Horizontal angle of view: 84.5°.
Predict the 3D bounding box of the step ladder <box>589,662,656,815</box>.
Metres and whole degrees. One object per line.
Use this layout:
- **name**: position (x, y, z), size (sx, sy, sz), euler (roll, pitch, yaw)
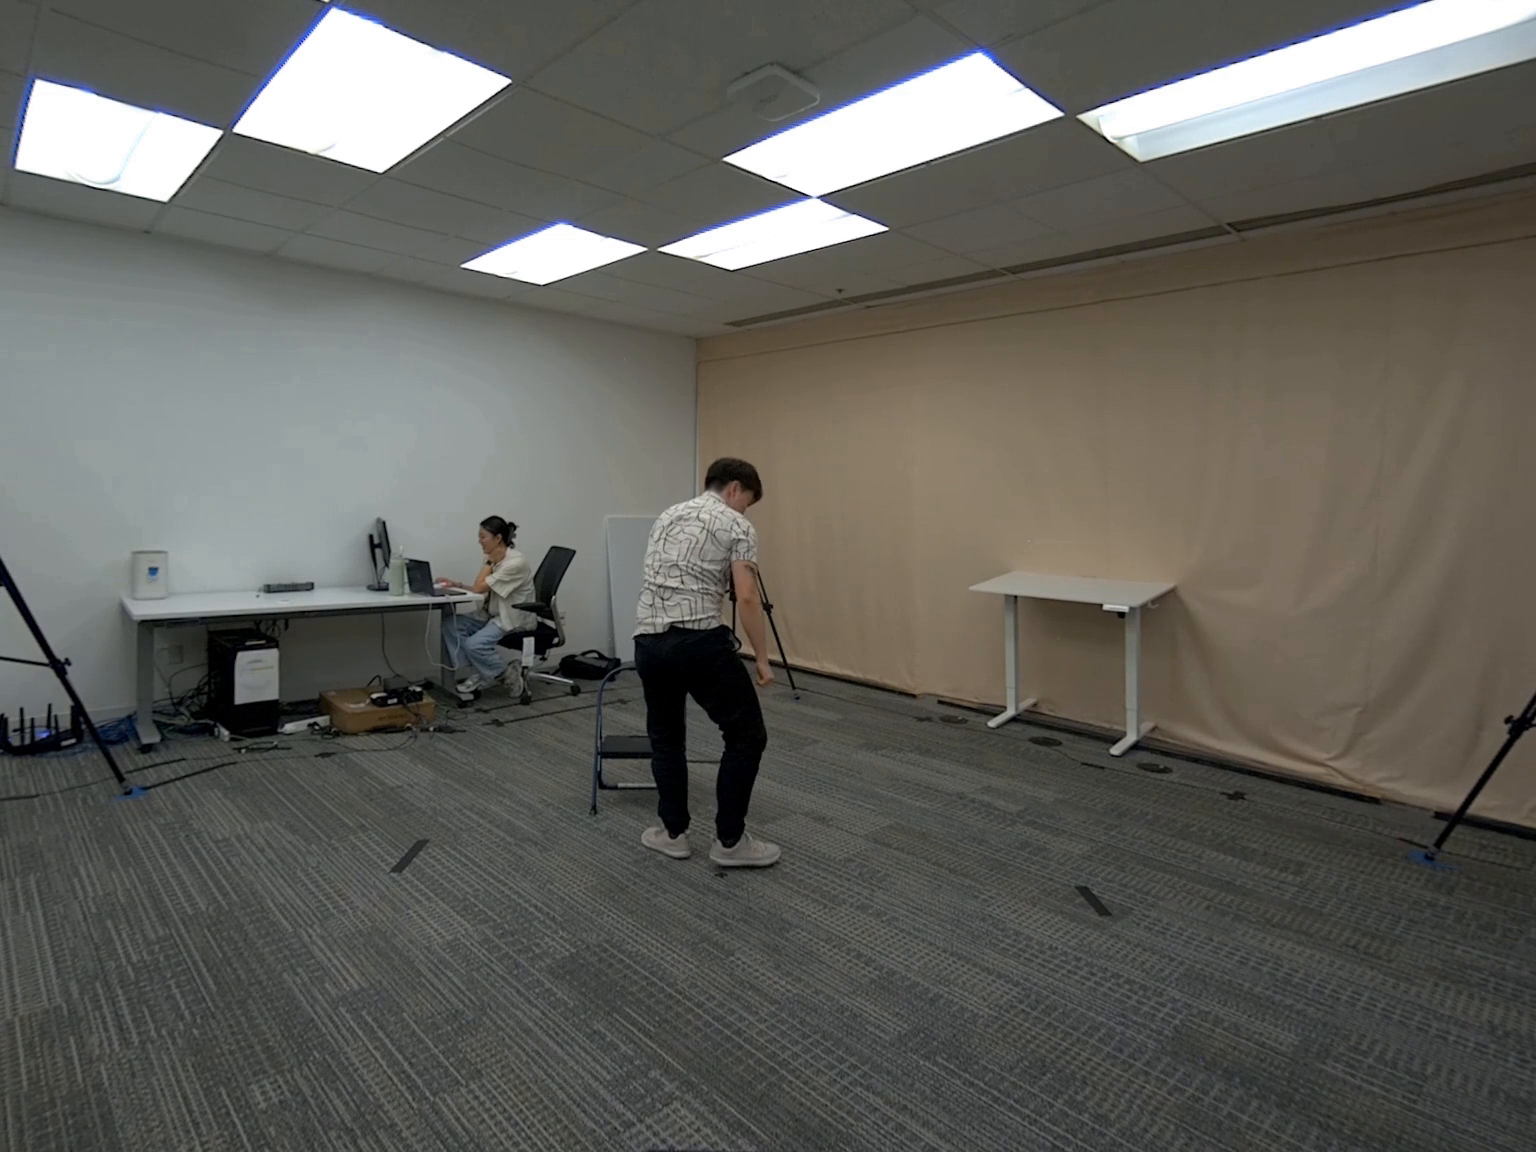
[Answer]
- **step ladder**: position (-0.587, 0.727, 3.839), size (0.429, 0.605, 0.352), euler (1, 3, -6)
